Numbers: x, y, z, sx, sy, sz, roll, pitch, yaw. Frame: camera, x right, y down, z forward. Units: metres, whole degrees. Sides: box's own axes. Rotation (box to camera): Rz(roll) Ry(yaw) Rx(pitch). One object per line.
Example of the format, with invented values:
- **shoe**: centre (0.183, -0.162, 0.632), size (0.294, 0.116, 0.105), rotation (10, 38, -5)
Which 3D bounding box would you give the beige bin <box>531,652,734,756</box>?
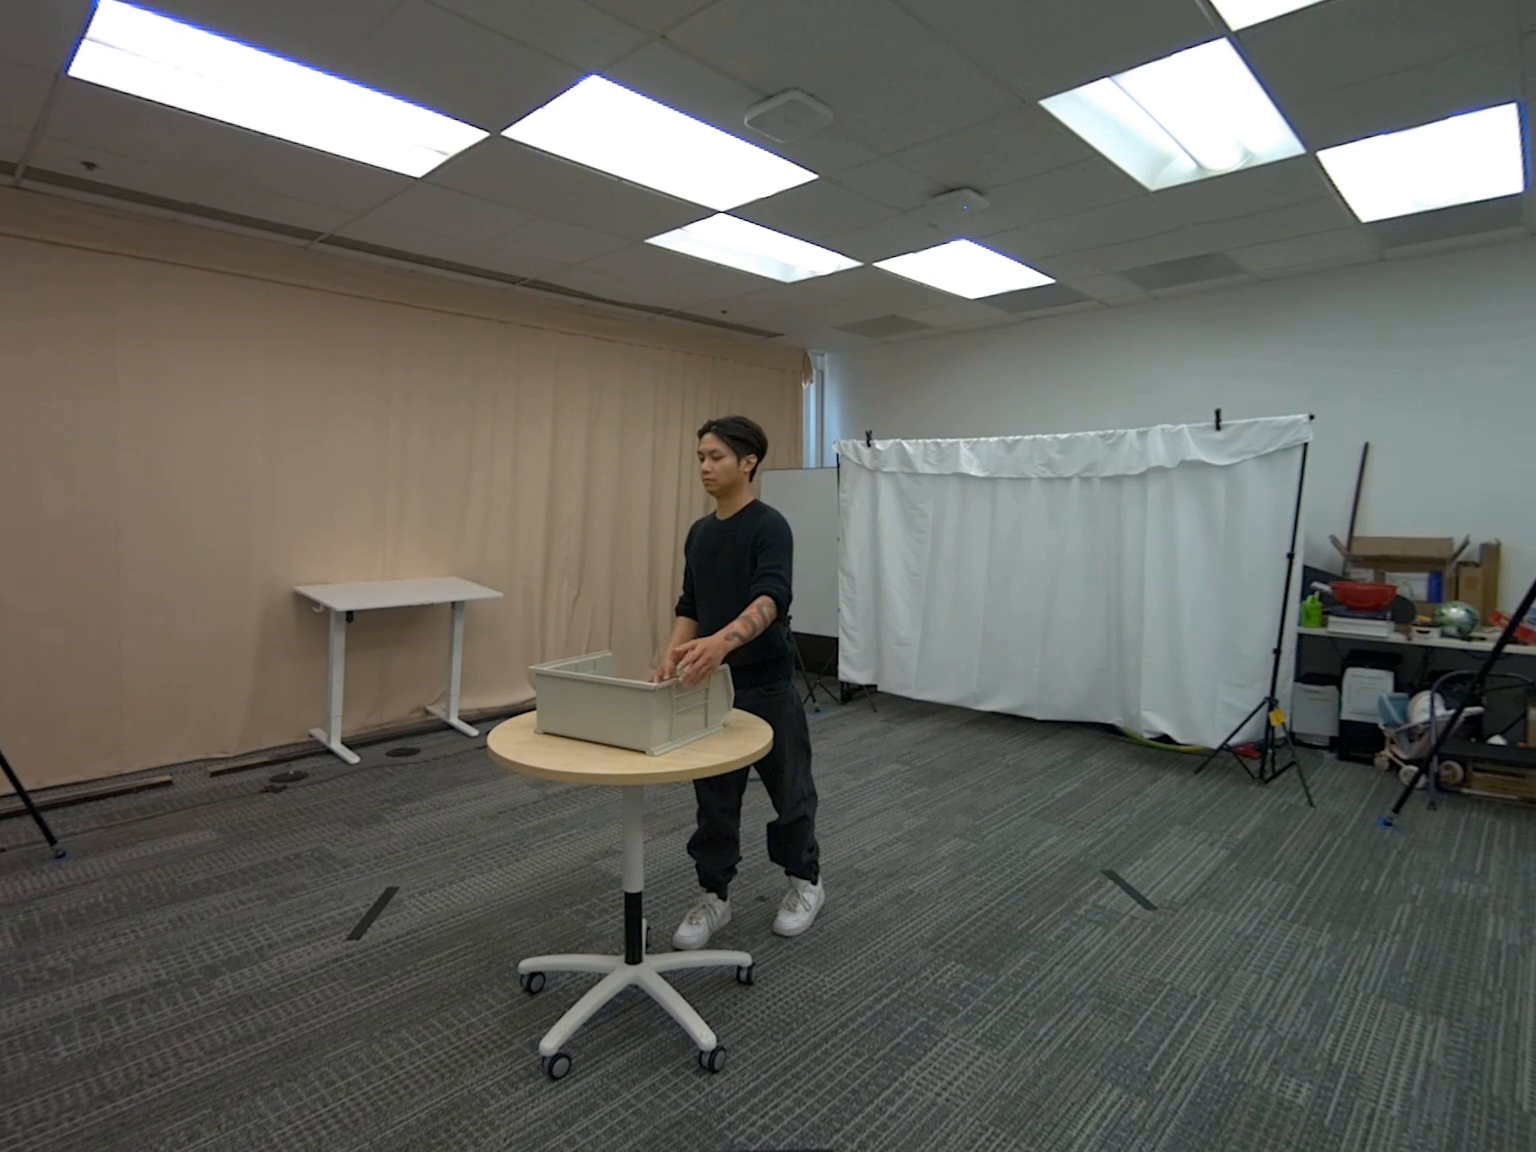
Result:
- **beige bin**: centre (-0.371, 0.337, 2.291), size (0.435, 0.188, 0.367), rotation (3, 6, 31)
